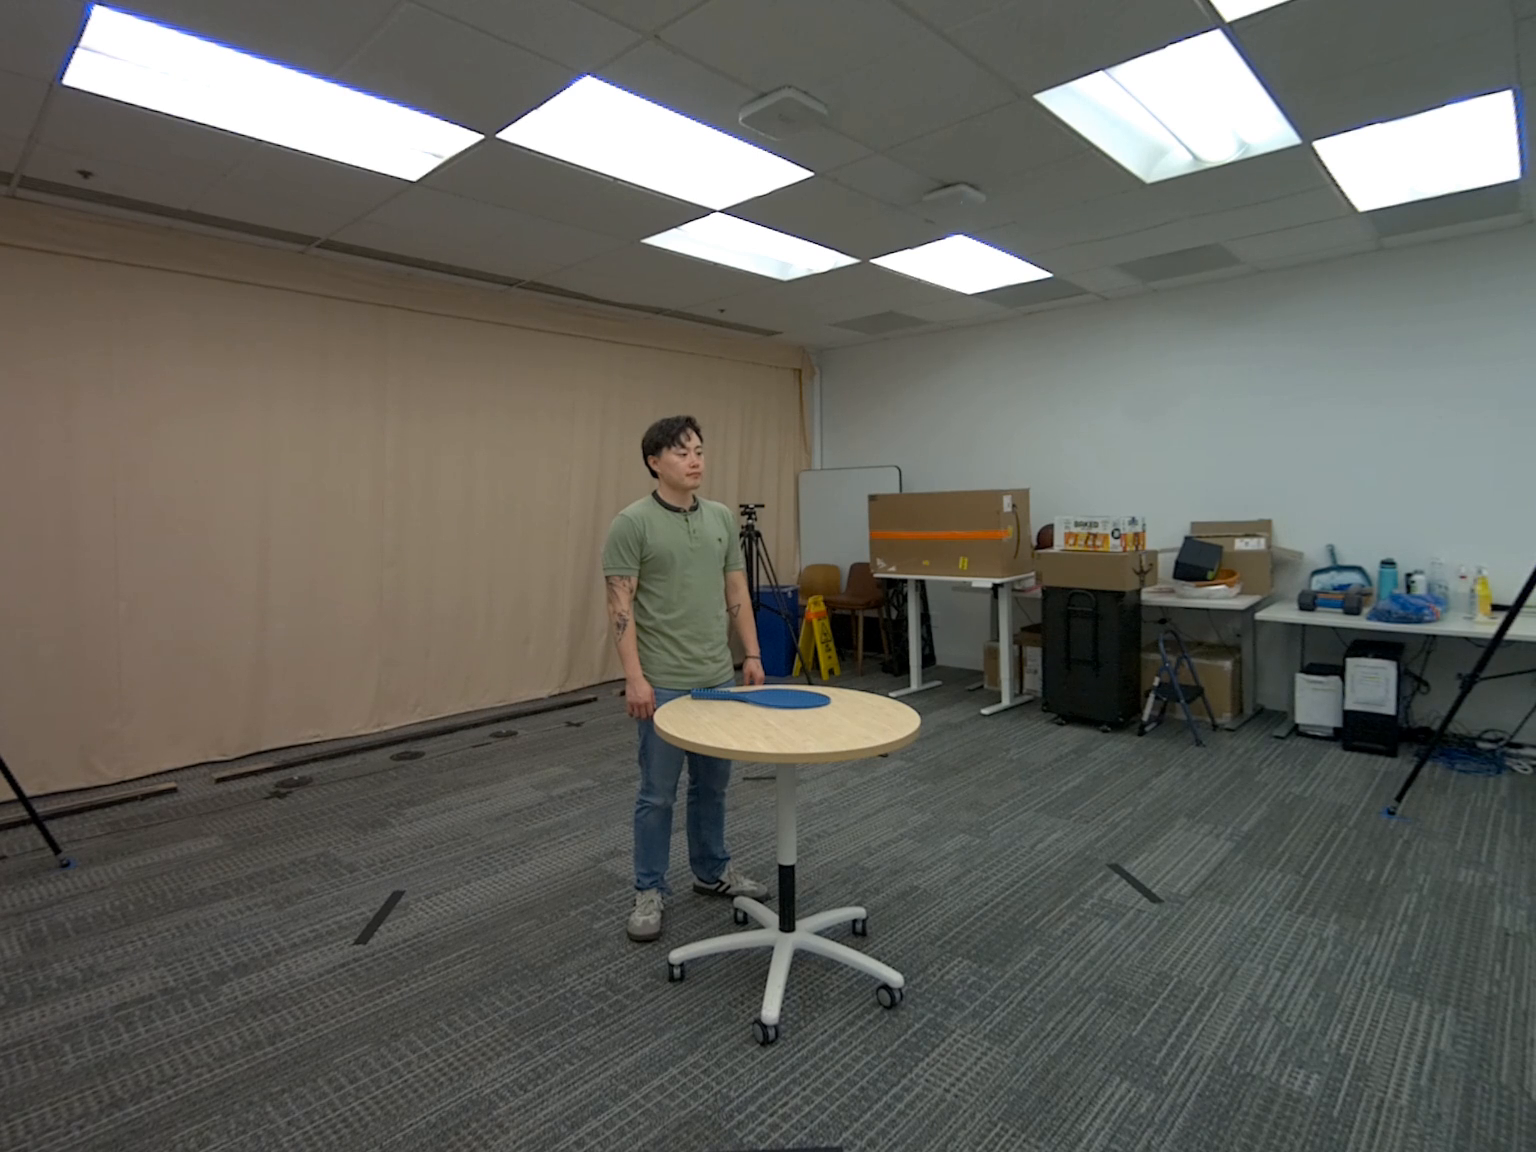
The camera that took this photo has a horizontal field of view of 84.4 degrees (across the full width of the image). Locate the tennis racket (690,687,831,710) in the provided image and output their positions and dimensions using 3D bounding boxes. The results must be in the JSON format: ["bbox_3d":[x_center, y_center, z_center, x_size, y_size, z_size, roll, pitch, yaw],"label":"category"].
[{"bbox_3d":[-0.024,0.375,2.614,0.437,0.031,0.212,2,6,8],"label":"tennis racket"}]
